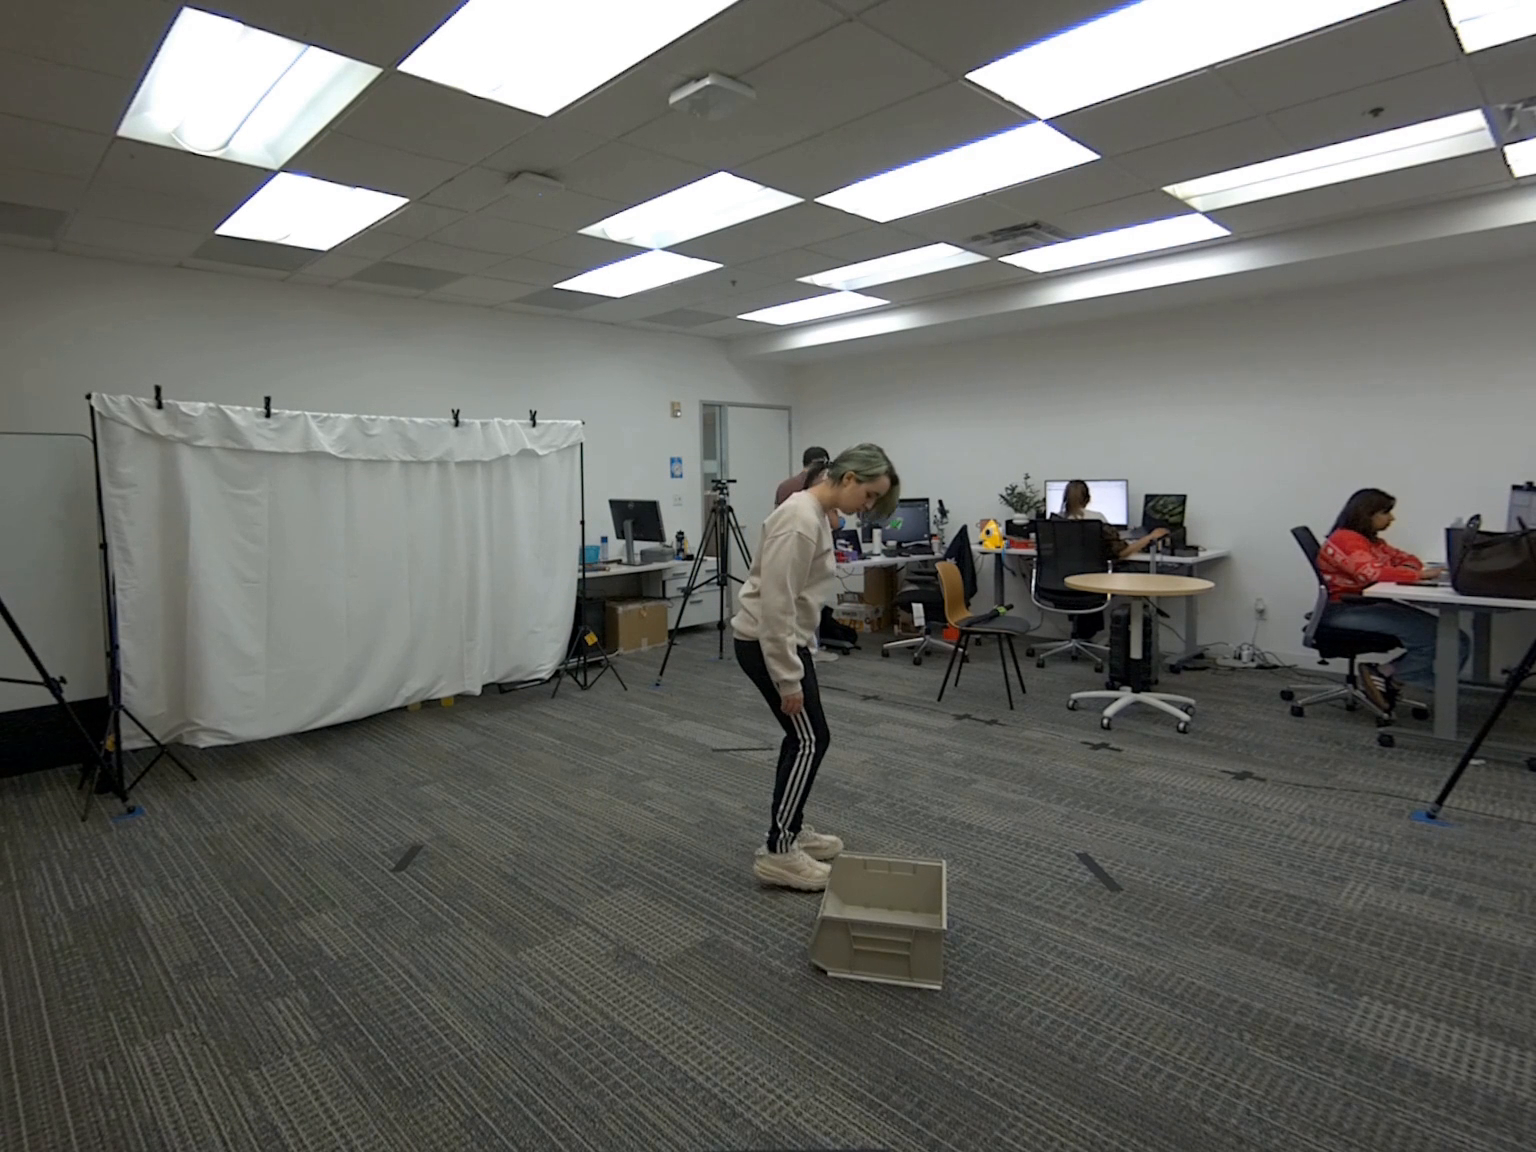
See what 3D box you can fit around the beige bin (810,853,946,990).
[{"bbox_3d":[0.347,1.016,2.554,0.382,0.188,0.419,1,6,12],"label":"beige bin"}]
